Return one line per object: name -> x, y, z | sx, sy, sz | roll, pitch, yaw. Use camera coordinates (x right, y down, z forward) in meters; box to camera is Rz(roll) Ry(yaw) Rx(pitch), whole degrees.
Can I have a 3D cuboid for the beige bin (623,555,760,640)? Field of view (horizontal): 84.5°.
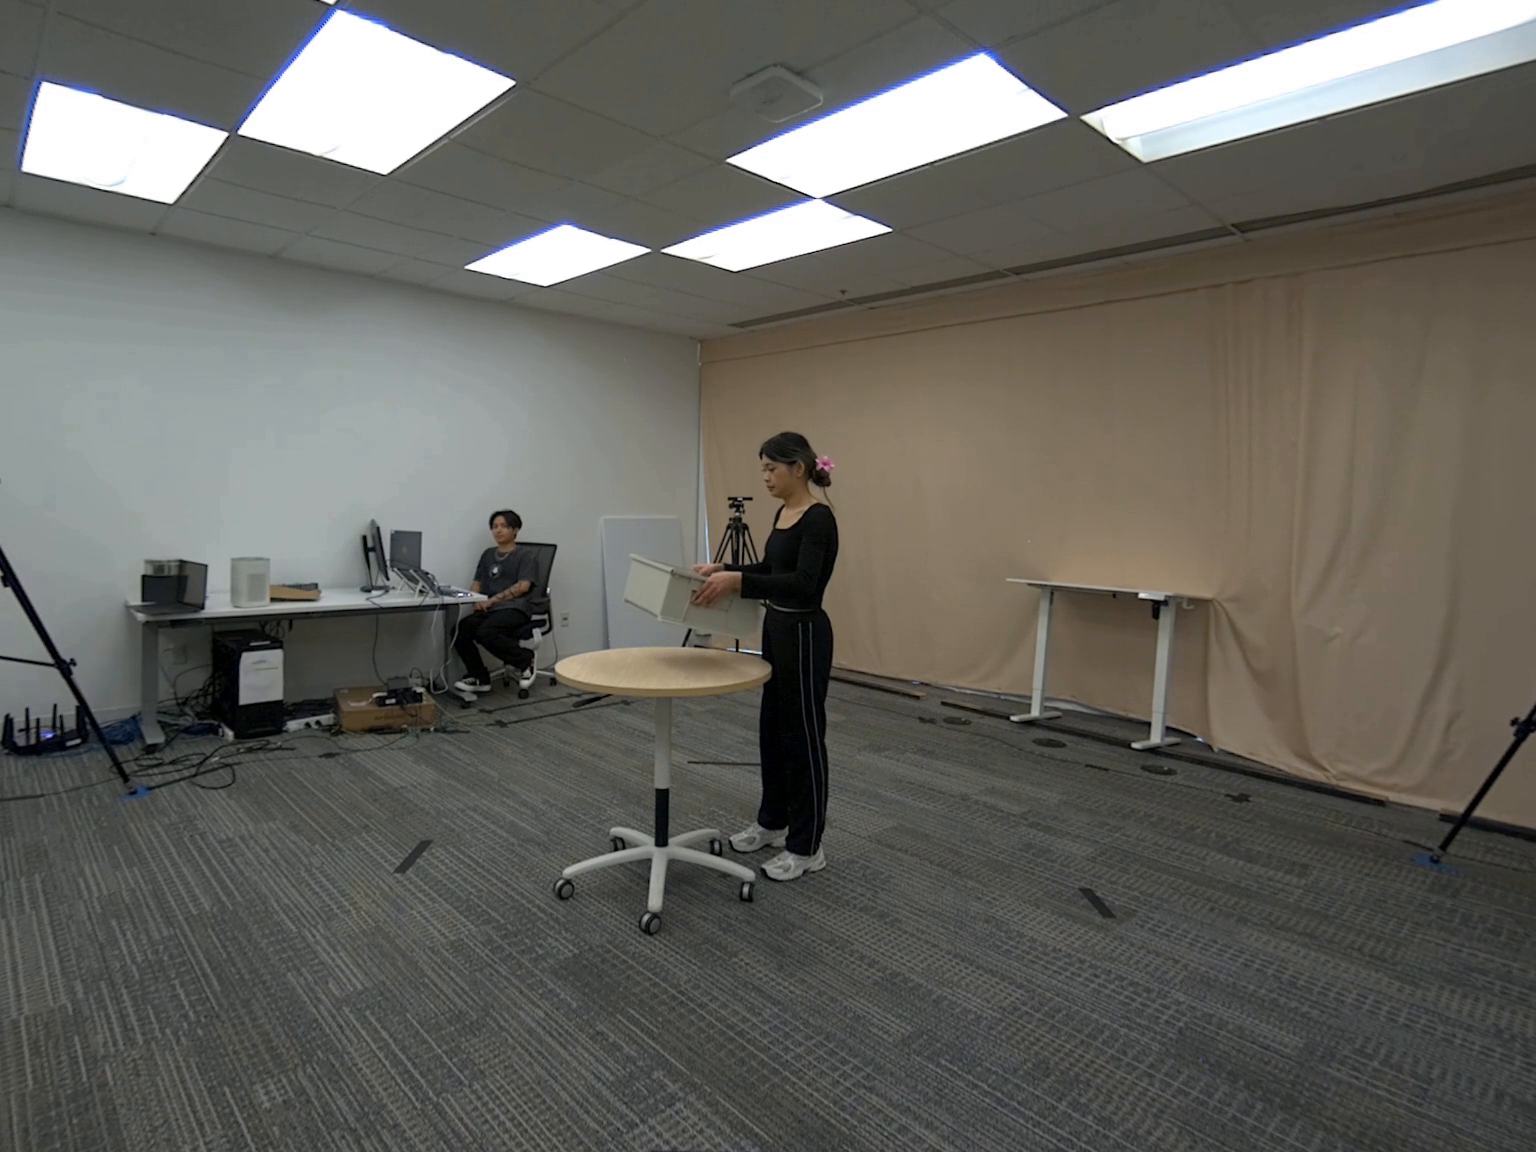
beige bin -> -0.285, 0.078, 3.036 | 0.369, 0.189, 0.432 | 13, 2, -28
